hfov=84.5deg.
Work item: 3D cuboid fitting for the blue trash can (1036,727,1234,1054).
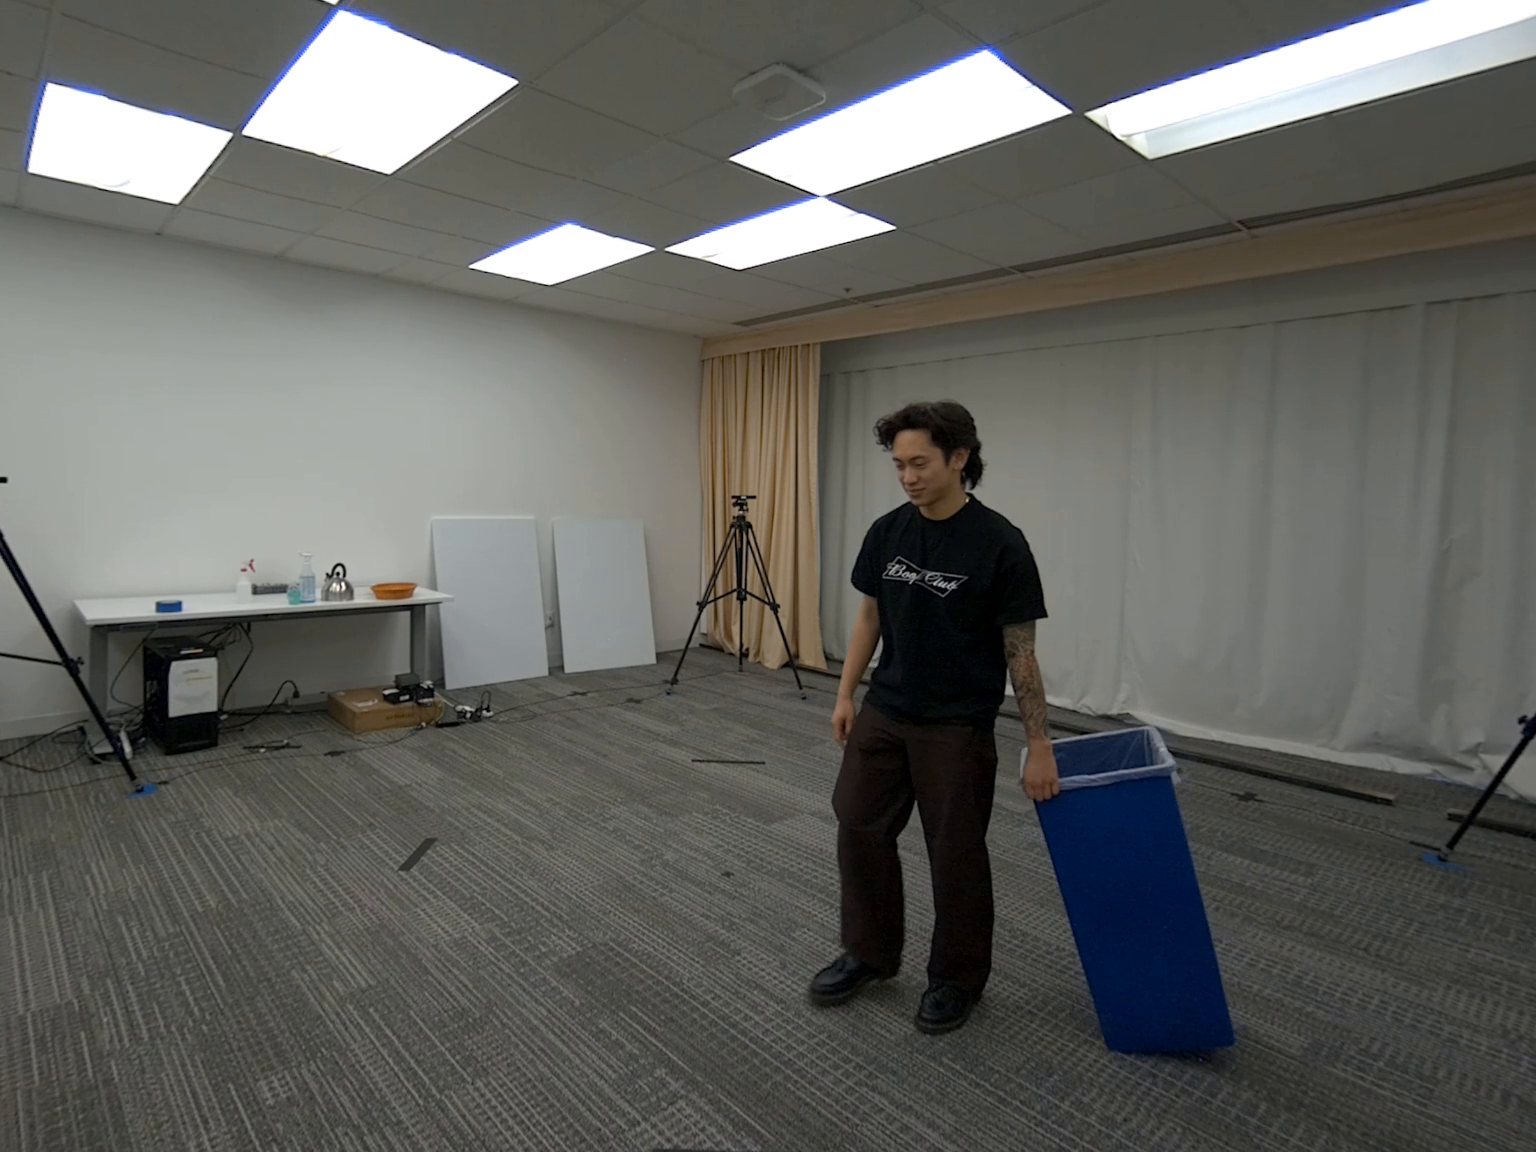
[{"bbox_3d":[0.955,0.827,2.257,0.378,0.714,0.373,-15,-1,18],"label":"blue trash can"}]
